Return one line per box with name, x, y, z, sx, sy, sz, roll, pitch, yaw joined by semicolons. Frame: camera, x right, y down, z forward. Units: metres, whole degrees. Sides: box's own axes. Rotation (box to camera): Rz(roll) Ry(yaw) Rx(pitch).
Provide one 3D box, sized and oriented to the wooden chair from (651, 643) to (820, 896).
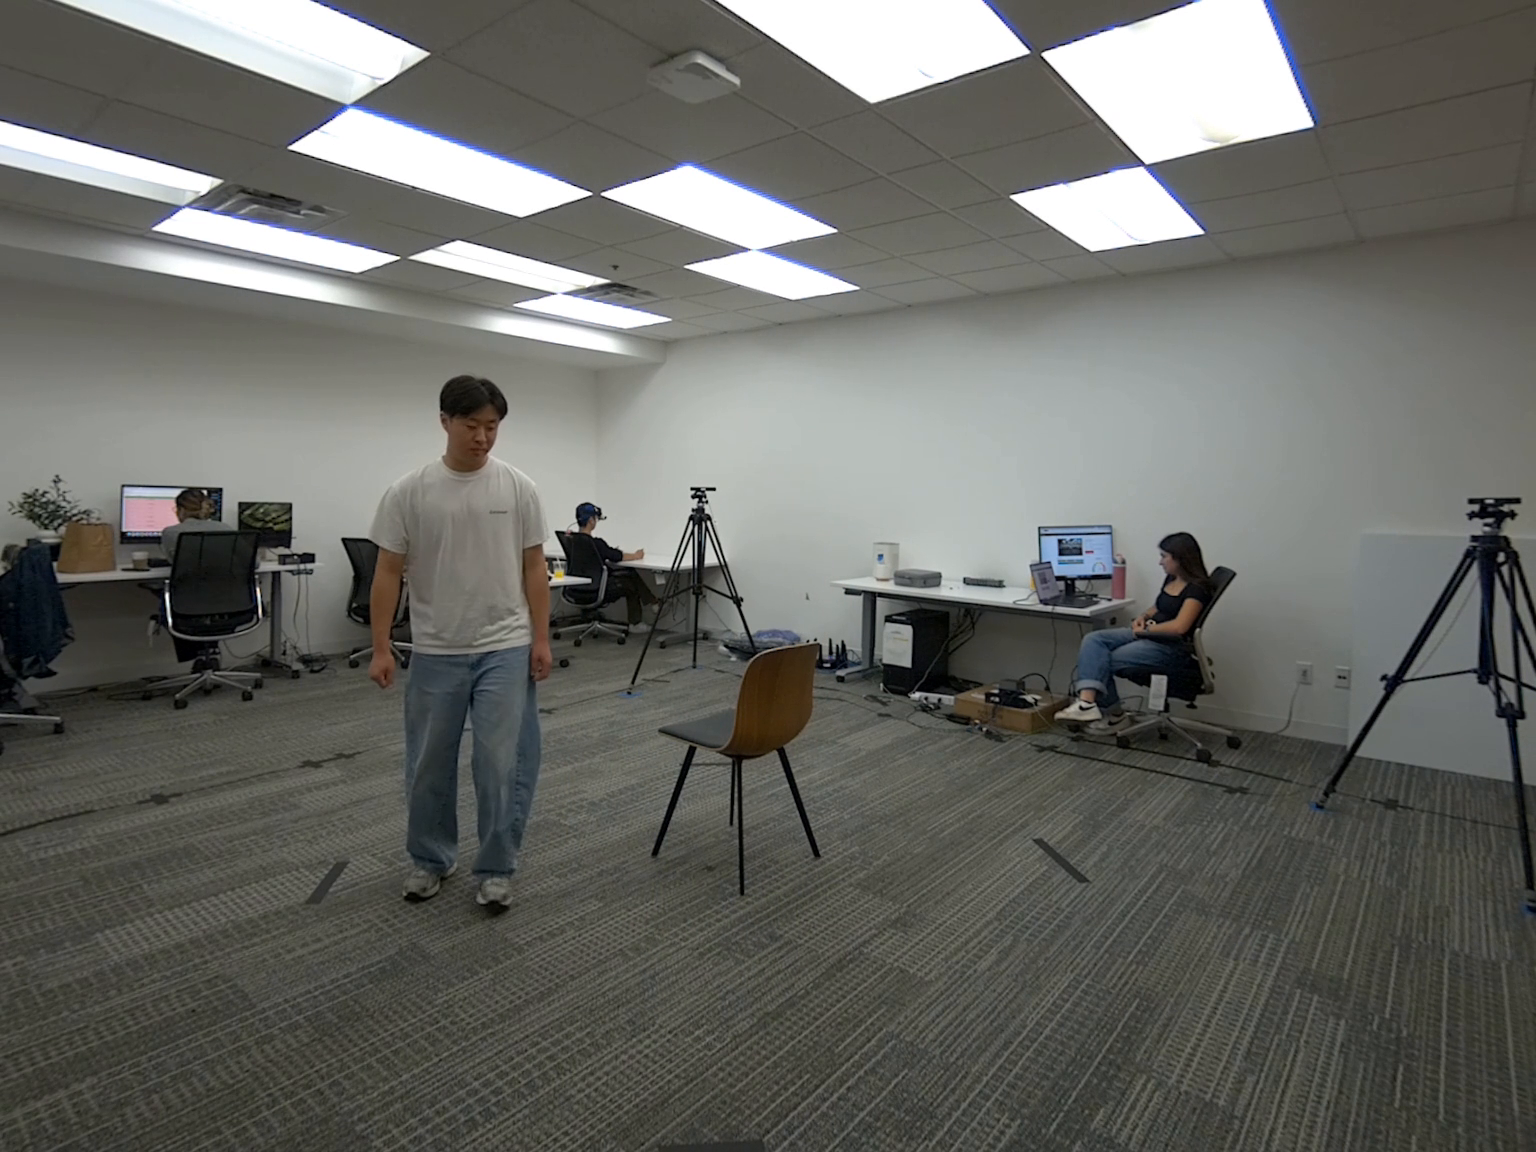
wooden chair;-0.128;0.633;3.195;0.542;0.873;0.463;10;8;41
